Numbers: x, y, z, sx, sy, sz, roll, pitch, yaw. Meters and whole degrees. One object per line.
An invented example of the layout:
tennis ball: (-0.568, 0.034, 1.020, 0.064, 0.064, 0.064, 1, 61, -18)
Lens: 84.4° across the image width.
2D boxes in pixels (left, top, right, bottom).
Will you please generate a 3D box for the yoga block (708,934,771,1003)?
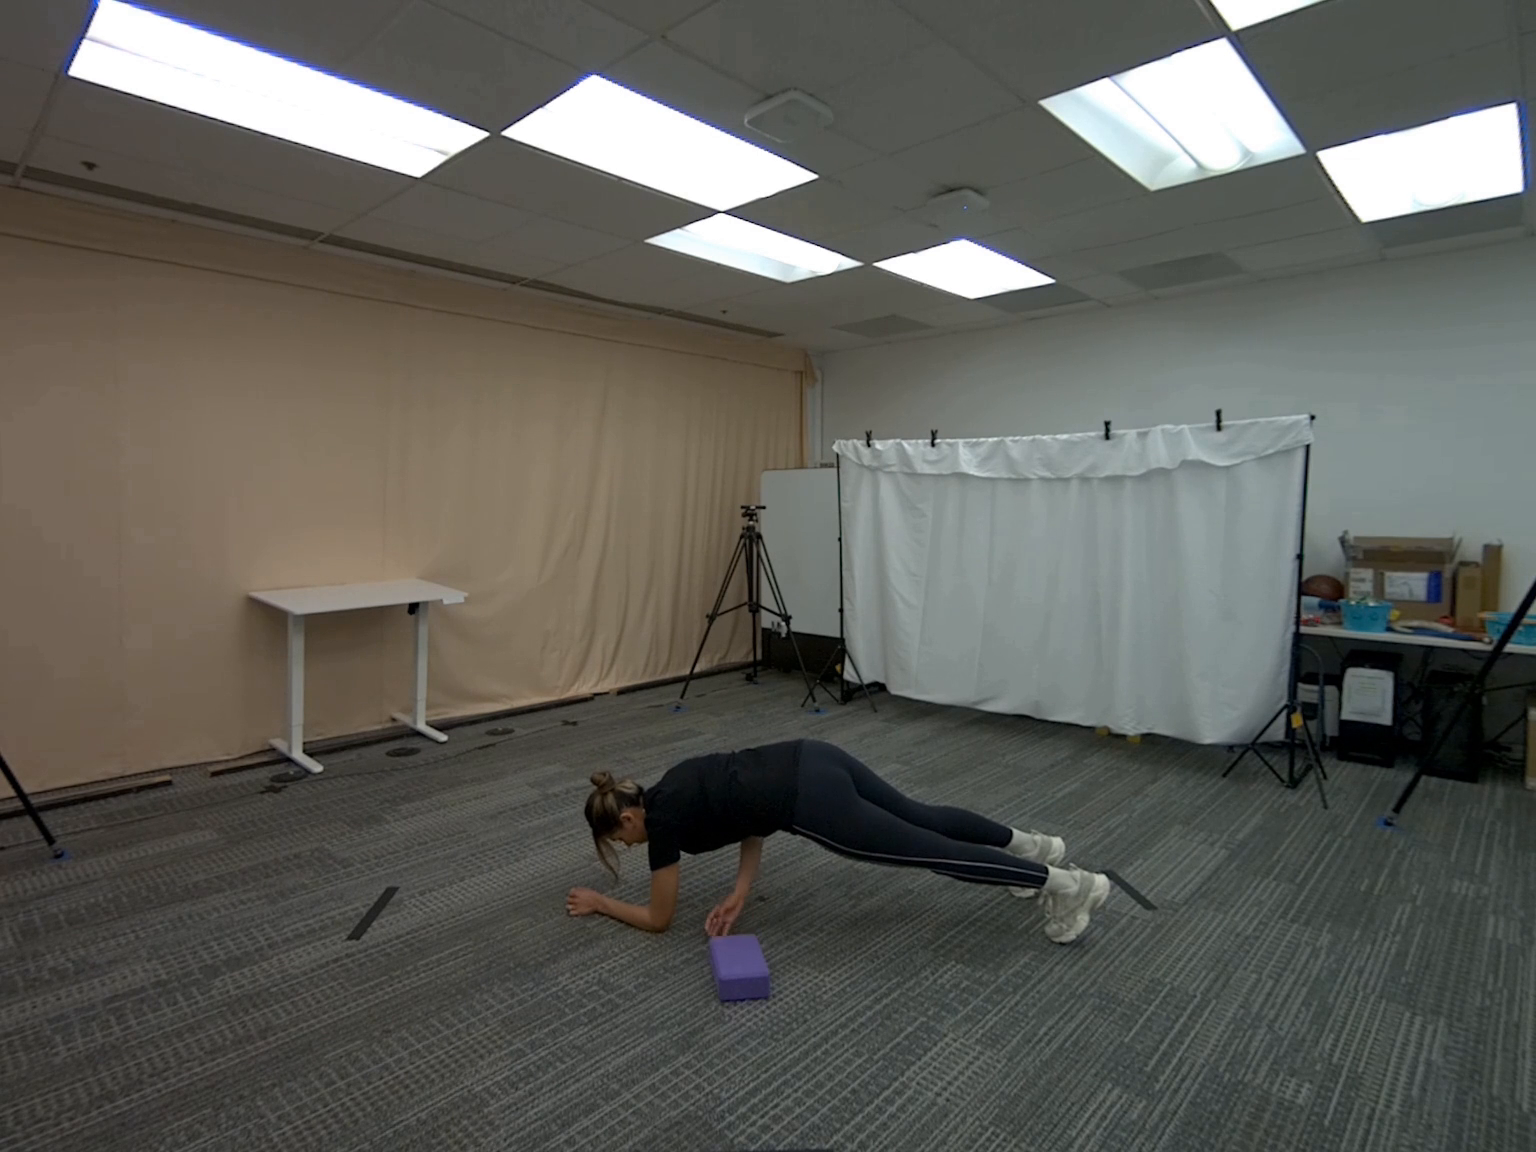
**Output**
yoga block: (-0.088, 1.143, 2.475, 0.148, 0.076, 0.232, -2, 5, -10)
